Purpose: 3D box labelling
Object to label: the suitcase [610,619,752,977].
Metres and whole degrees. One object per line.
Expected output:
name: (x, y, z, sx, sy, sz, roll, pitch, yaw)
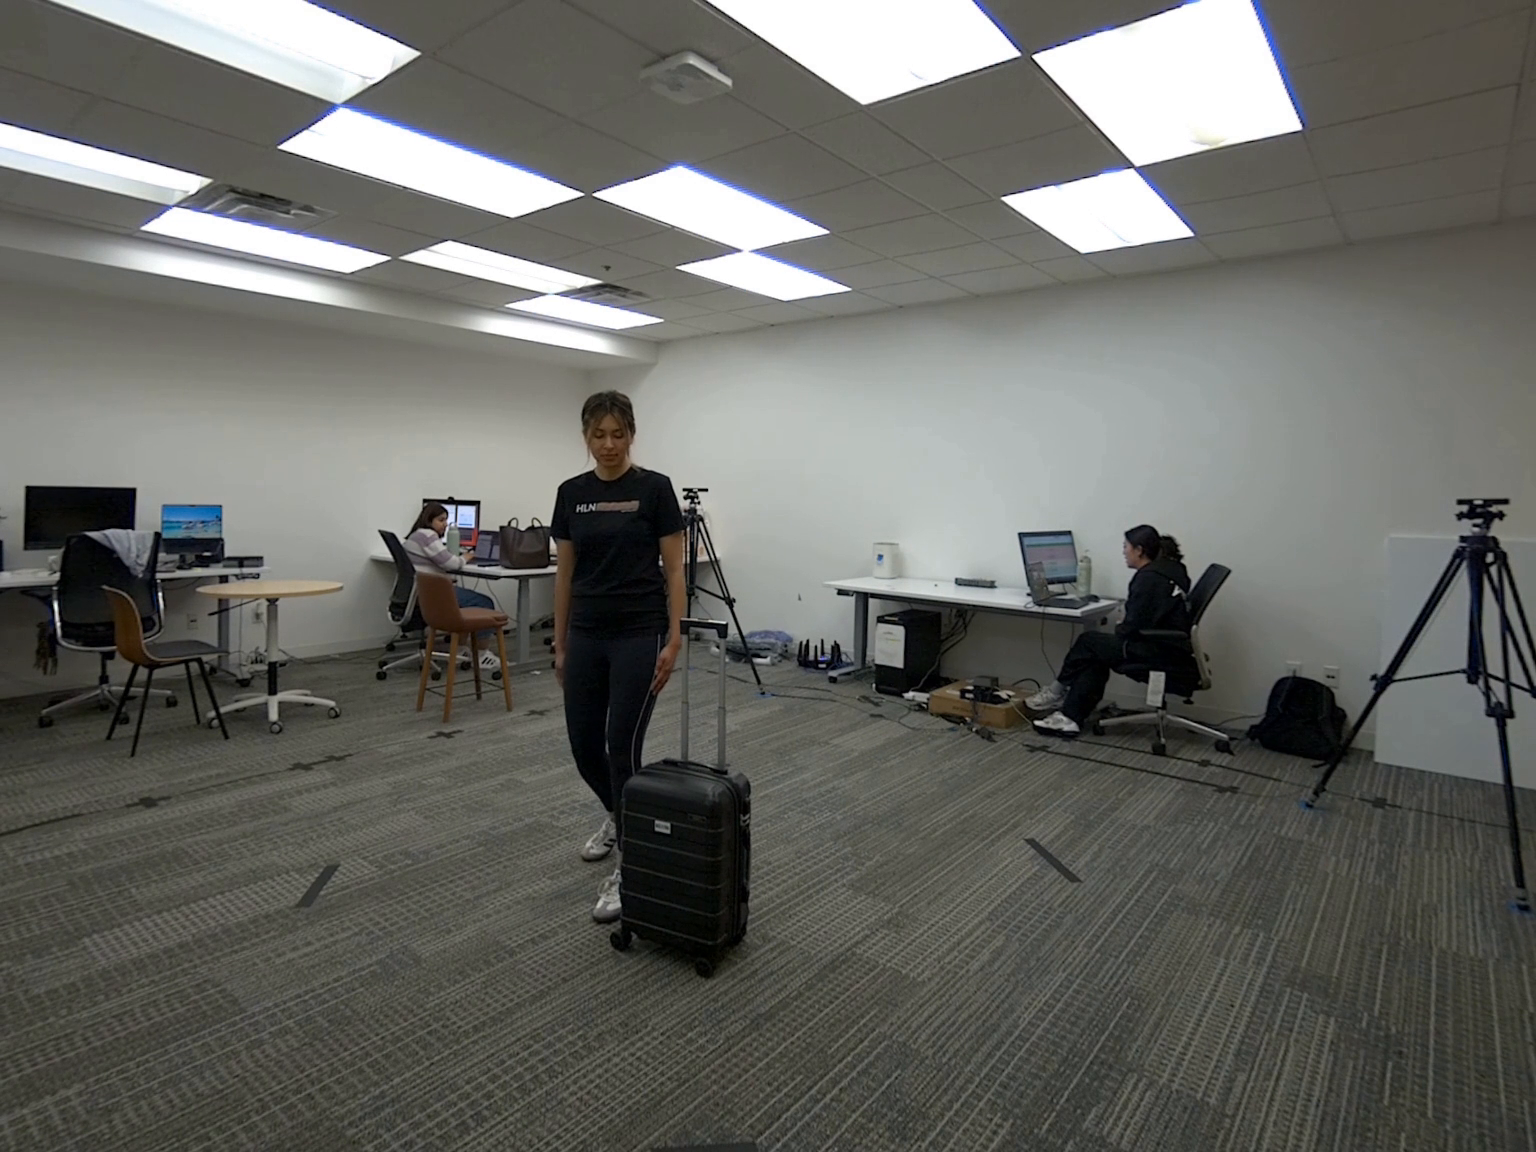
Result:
suitcase: (-0.244, 0.646, 2.545, 0.394, 0.974, 0.252, 4, 6, 24)
